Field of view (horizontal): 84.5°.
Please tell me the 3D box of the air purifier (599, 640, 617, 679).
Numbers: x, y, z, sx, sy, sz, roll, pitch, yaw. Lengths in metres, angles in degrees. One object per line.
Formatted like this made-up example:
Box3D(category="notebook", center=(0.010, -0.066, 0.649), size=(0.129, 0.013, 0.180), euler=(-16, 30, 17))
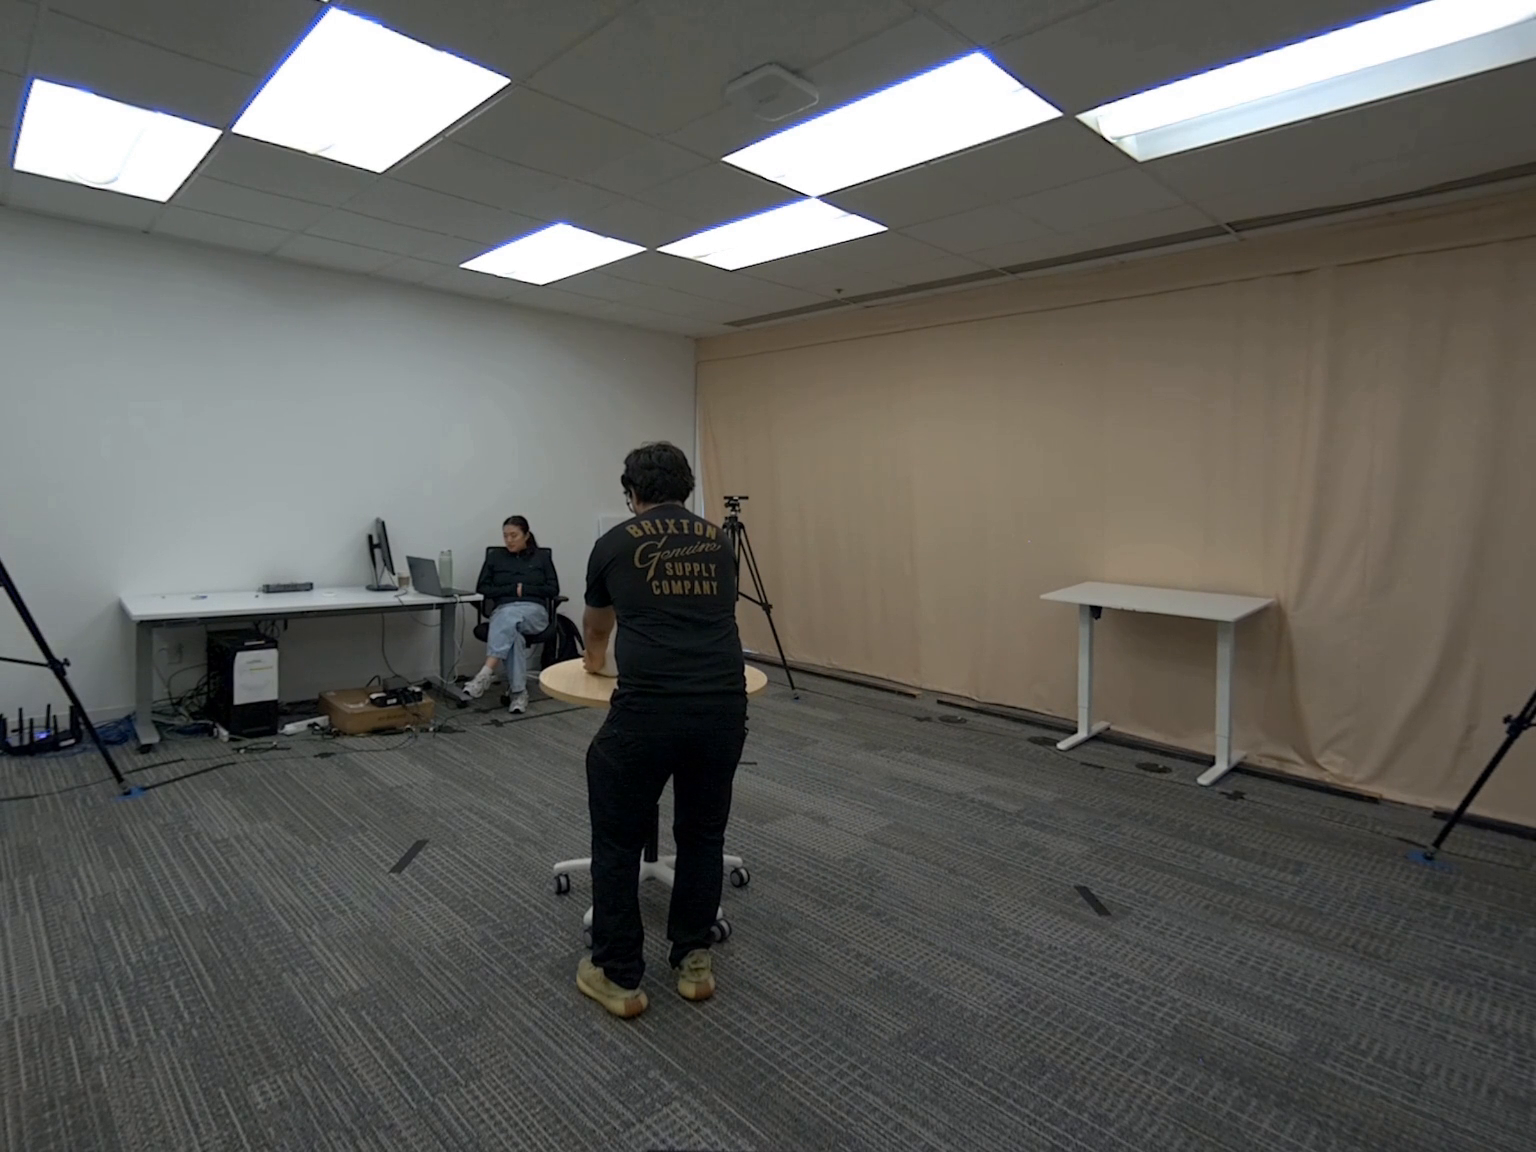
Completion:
Box3D(category="air purifier", center=(-0.518, 0.203, 2.868), size=(0.176, 0.265, 0.167), euler=(4, 5, 42))
